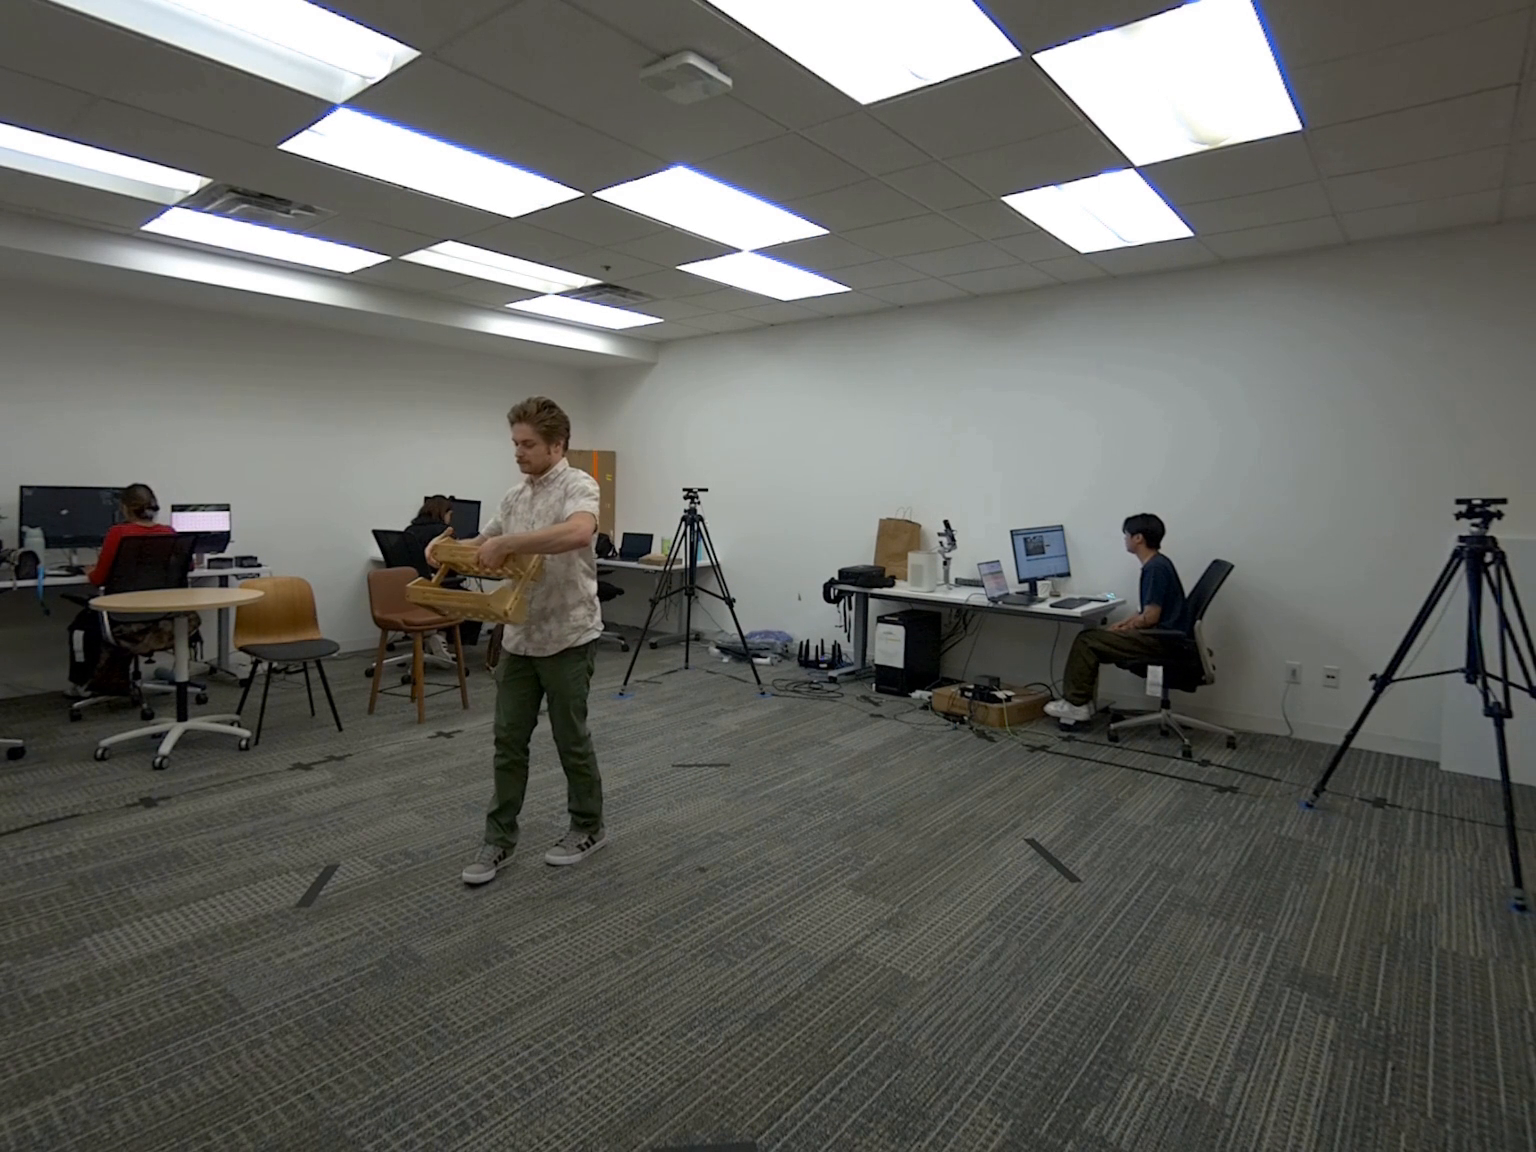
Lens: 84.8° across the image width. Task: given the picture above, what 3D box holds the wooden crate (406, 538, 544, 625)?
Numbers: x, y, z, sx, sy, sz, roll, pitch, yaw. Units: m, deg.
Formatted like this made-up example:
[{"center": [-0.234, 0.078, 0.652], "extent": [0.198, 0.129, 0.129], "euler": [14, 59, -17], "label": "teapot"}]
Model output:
[{"center": [-0.982, -0.001, 2.818], "extent": [0.330, 0.277, 0.293], "euler": [5, -17, 14], "label": "wooden crate"}]
